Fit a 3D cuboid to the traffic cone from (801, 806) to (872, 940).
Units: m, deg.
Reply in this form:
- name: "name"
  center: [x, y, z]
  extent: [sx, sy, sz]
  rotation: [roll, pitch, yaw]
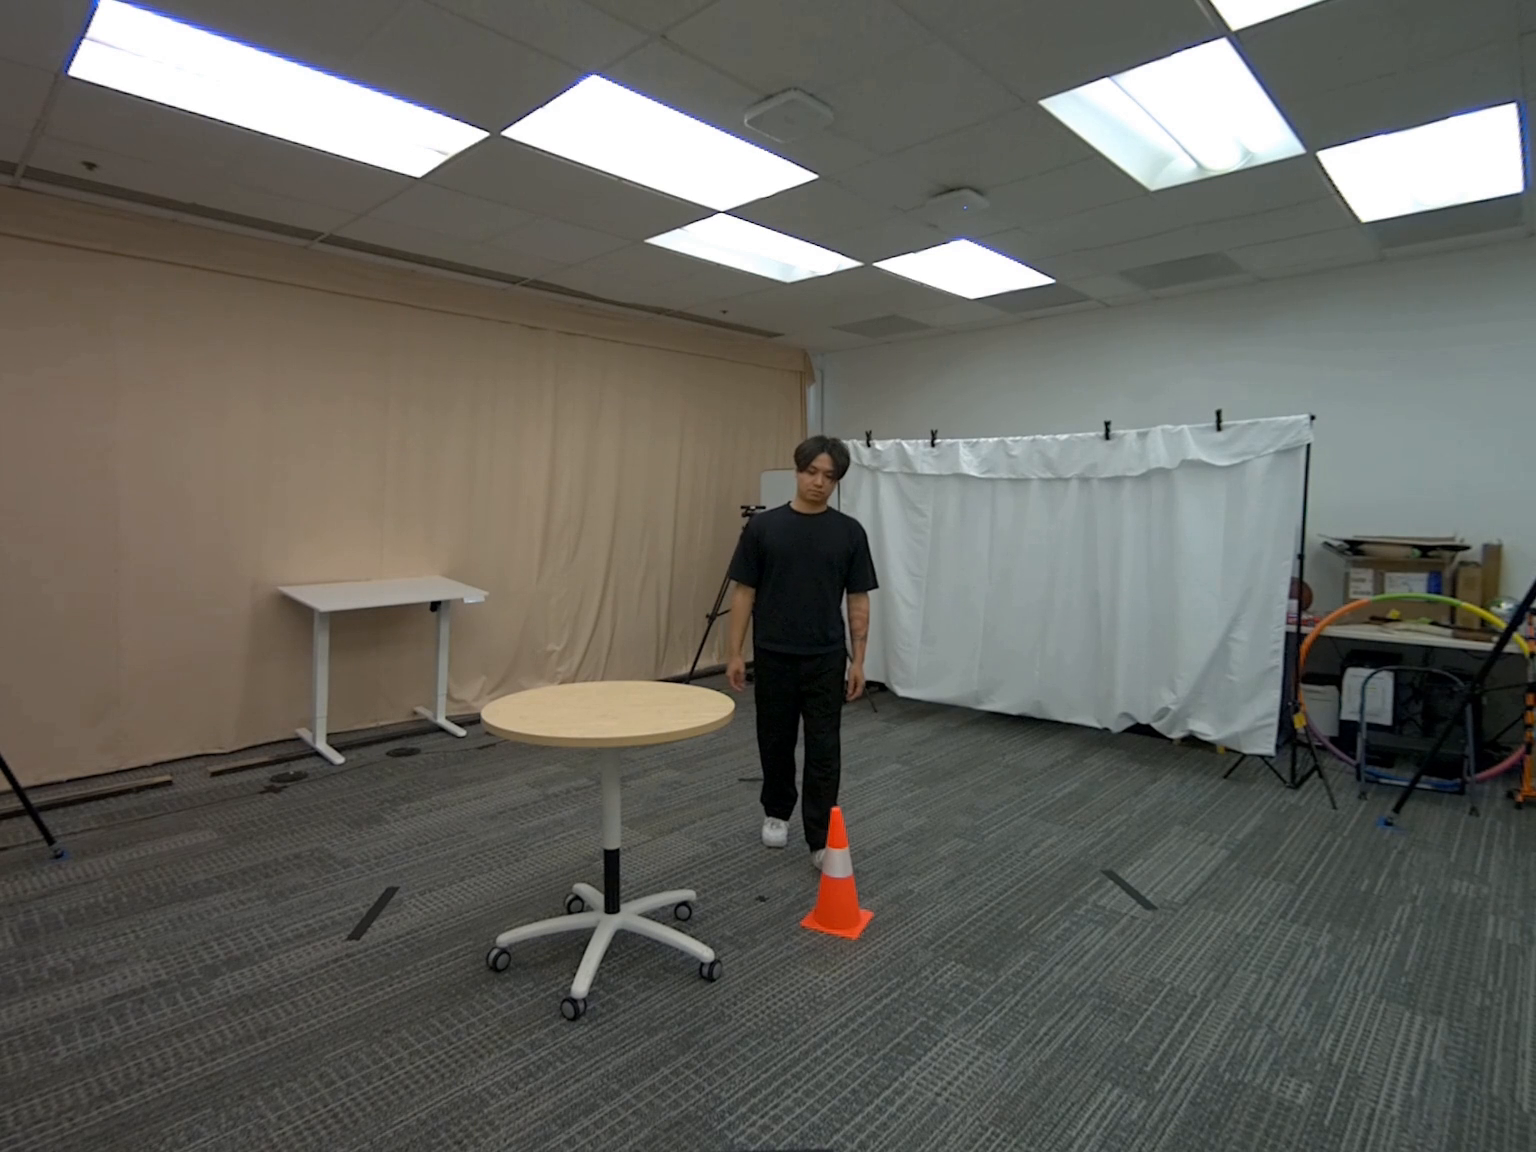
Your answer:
- name: "traffic cone"
  center: [0.228, 0.967, 2.825]
  extent: [0.208, 0.383, 0.200]
  rotation: [0, 4, 24]
